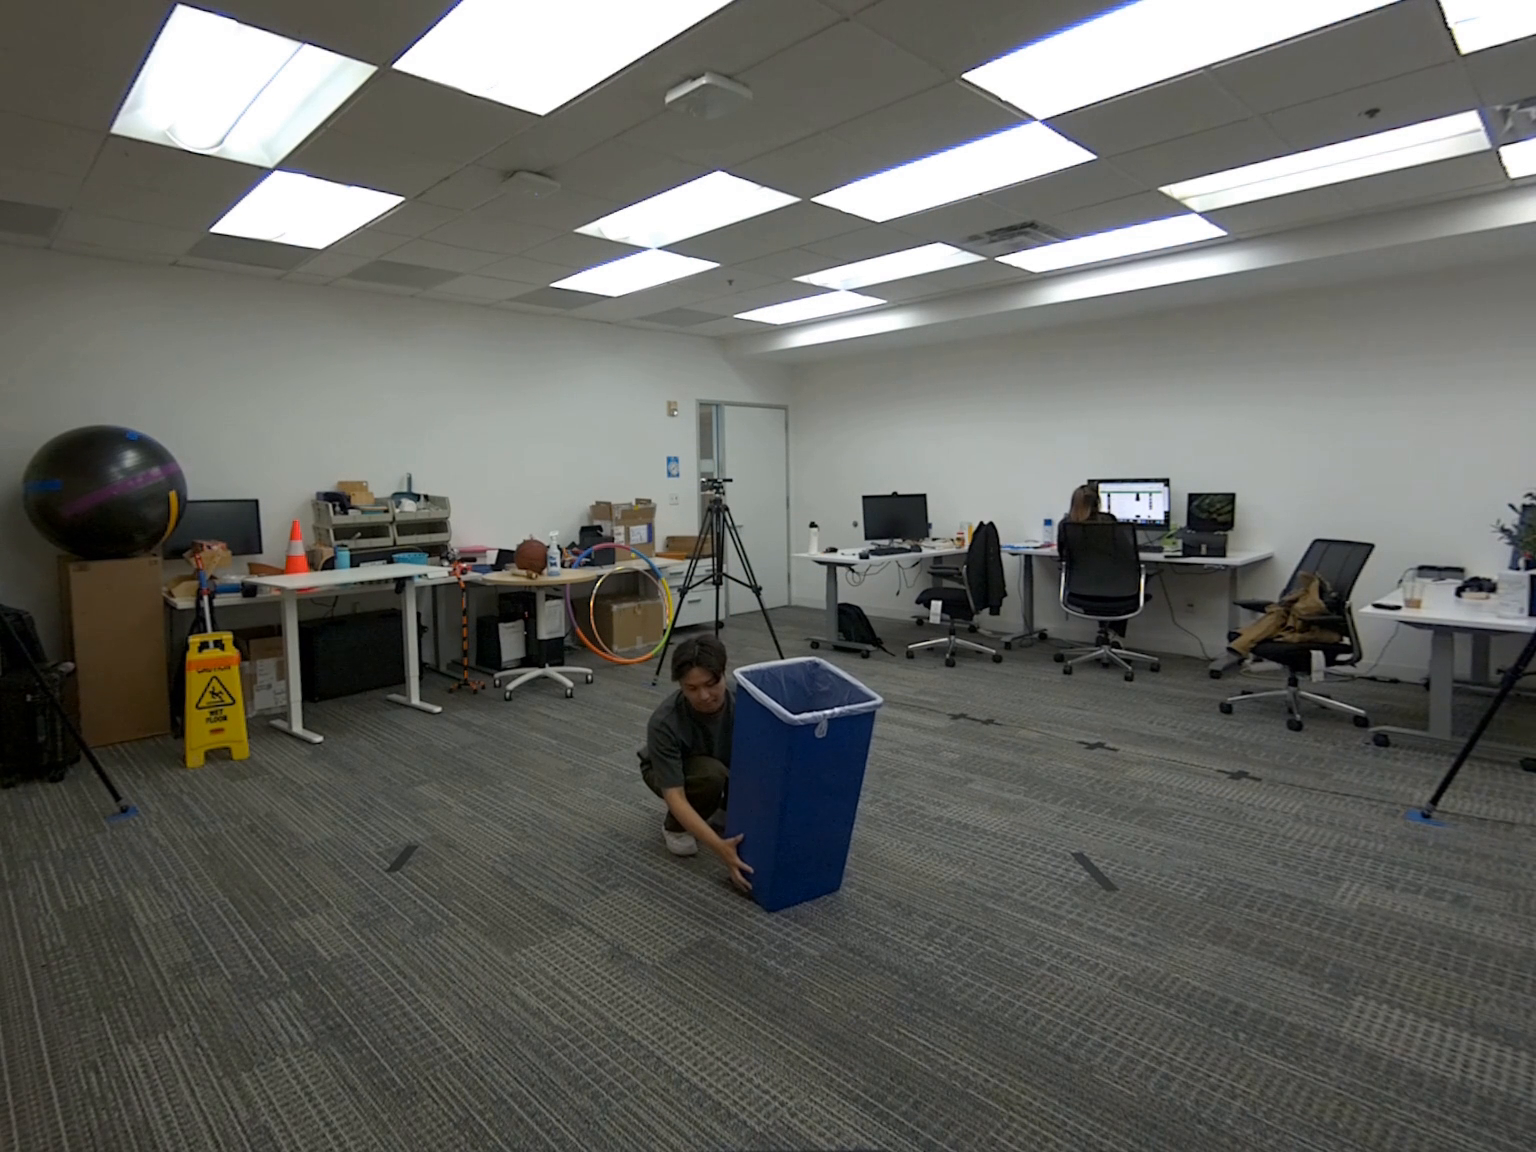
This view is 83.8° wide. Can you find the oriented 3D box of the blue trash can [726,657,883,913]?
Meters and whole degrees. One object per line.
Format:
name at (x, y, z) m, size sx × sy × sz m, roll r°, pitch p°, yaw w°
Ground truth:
blue trash can at (0.099, 0.685, 2.847) m, size 0.365 × 0.705 × 0.392 m, roll -4°, pitch 18°, yaw -33°
